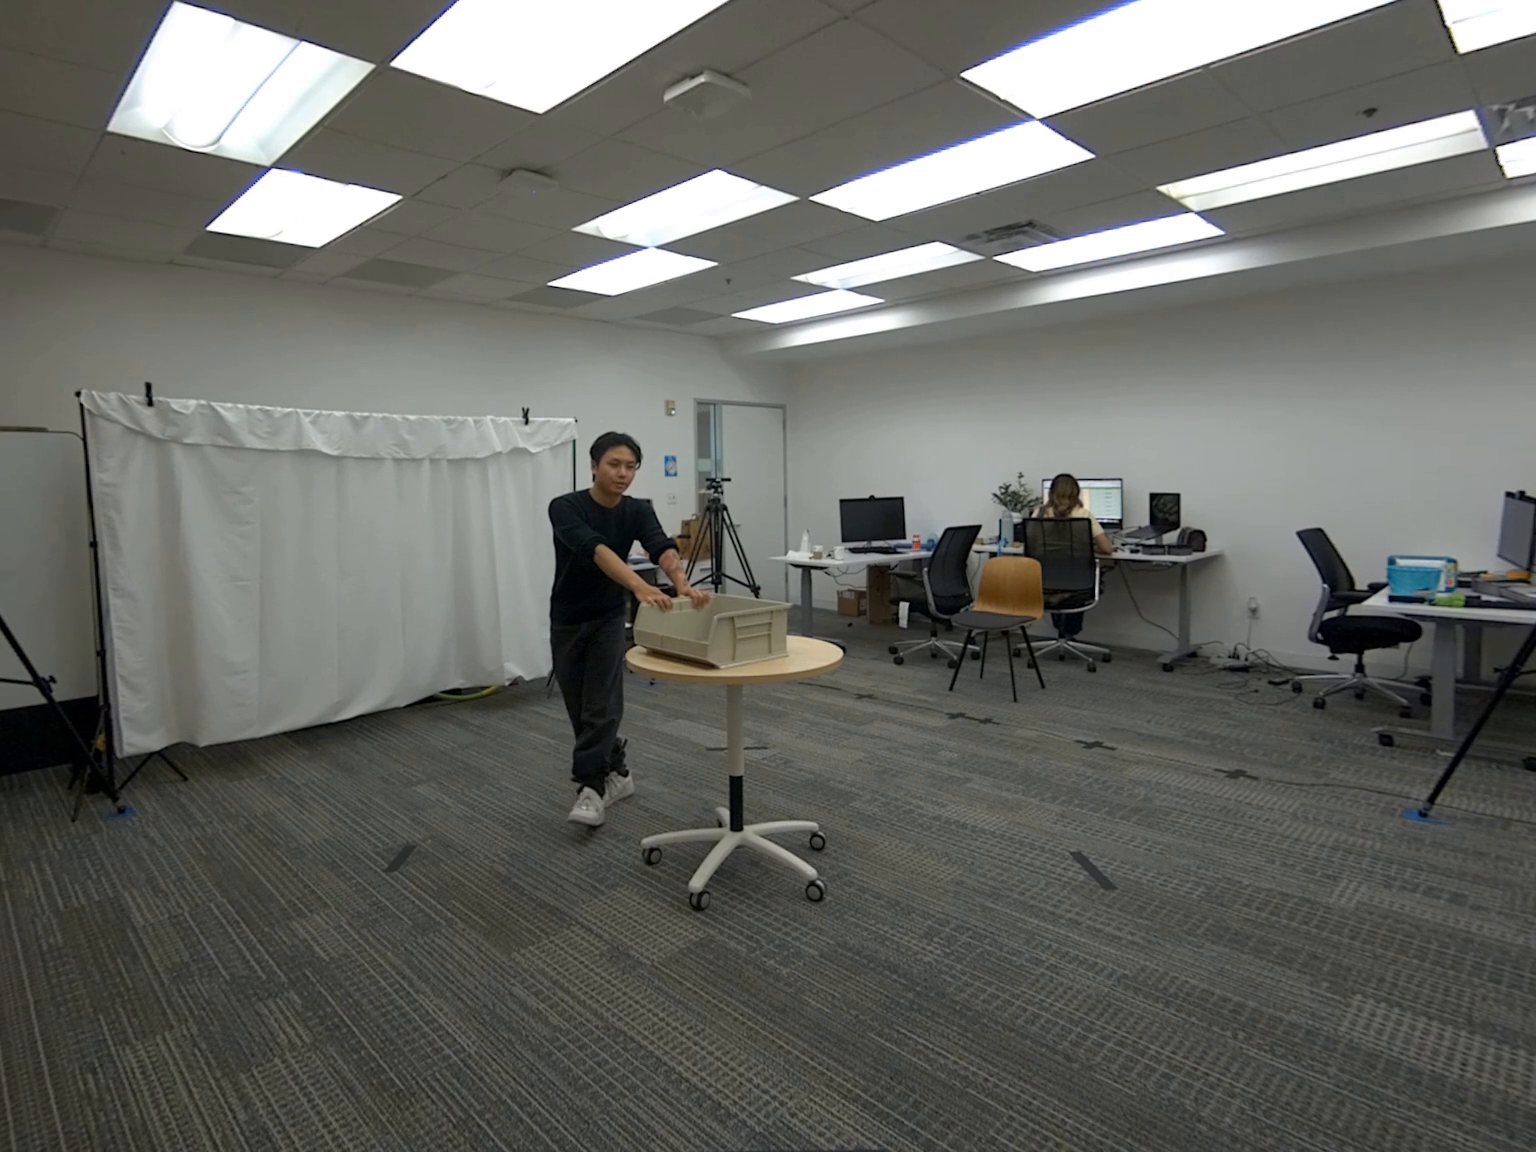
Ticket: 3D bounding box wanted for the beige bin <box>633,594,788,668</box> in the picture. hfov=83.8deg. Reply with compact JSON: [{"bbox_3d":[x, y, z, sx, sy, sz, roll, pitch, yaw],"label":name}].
[{"bbox_3d":[-0.194,0.183,2.973,0.367,0.188,0.435,-3,5,-42],"label":"beige bin"}]
